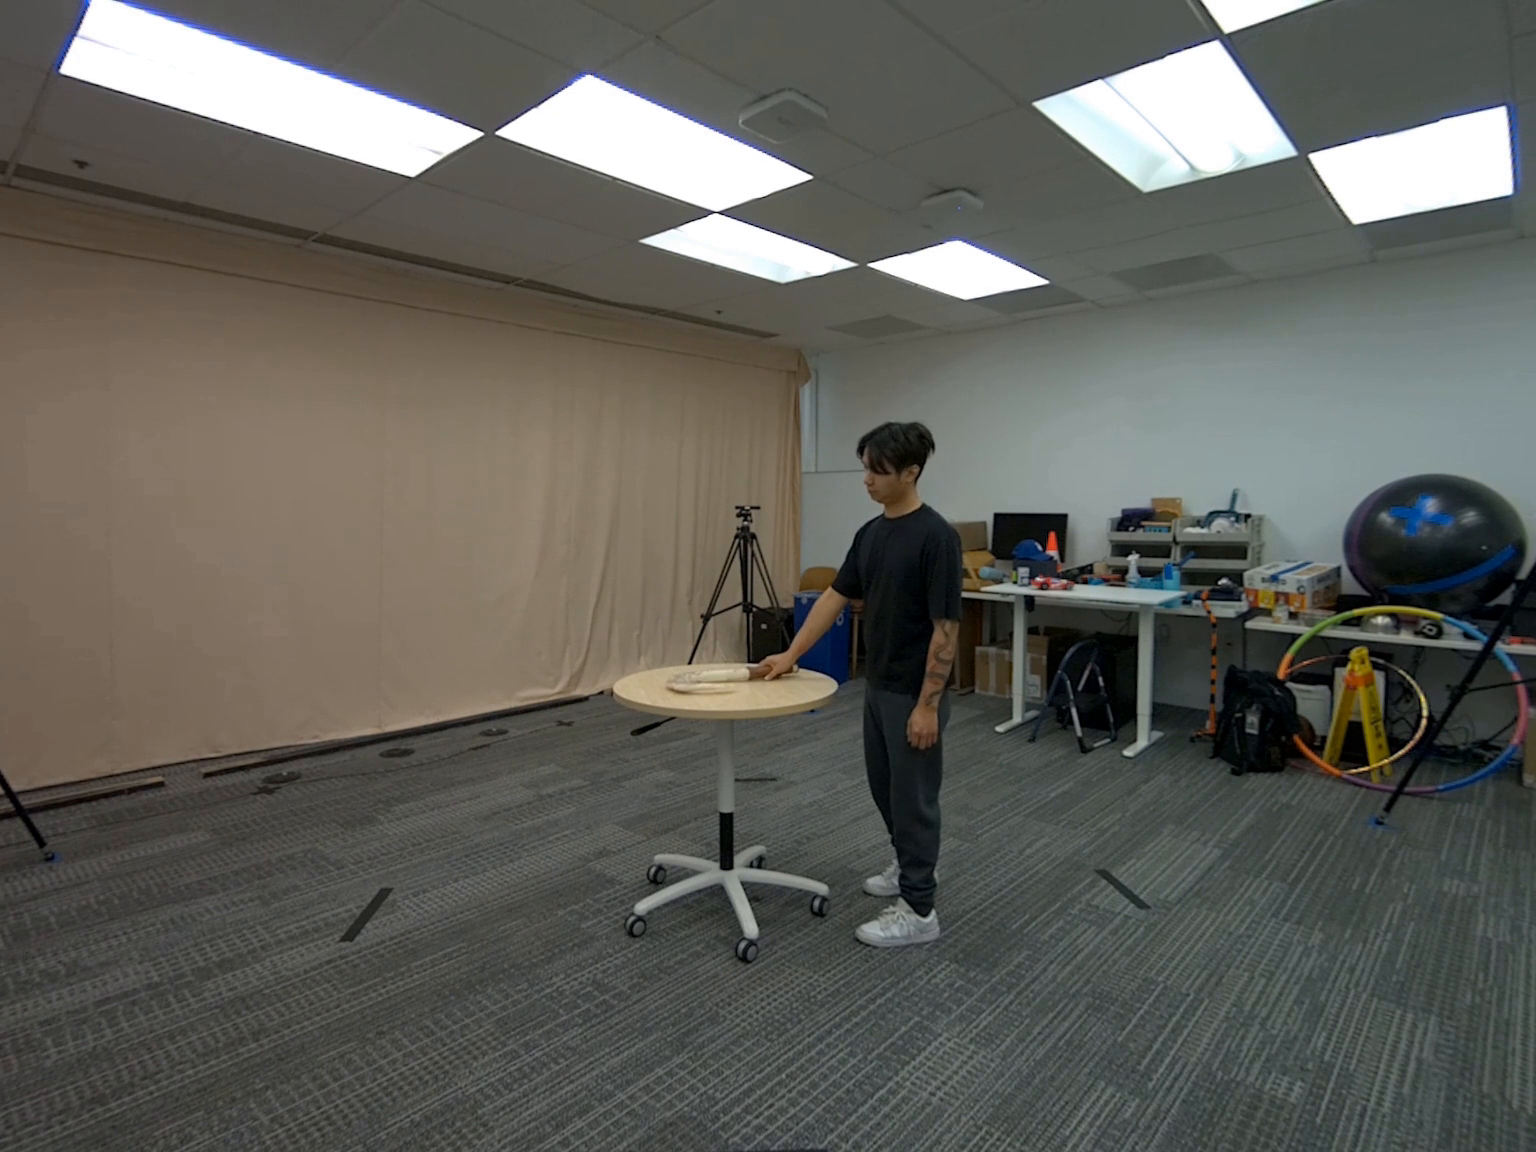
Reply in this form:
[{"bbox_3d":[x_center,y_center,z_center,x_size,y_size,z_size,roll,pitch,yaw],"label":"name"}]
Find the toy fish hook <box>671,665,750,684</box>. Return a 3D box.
[{"bbox_3d":[-0.090,0.356,2.860,0.496,0.048,0.230,-4,9,-21],"label":"toy fish hook"}]
